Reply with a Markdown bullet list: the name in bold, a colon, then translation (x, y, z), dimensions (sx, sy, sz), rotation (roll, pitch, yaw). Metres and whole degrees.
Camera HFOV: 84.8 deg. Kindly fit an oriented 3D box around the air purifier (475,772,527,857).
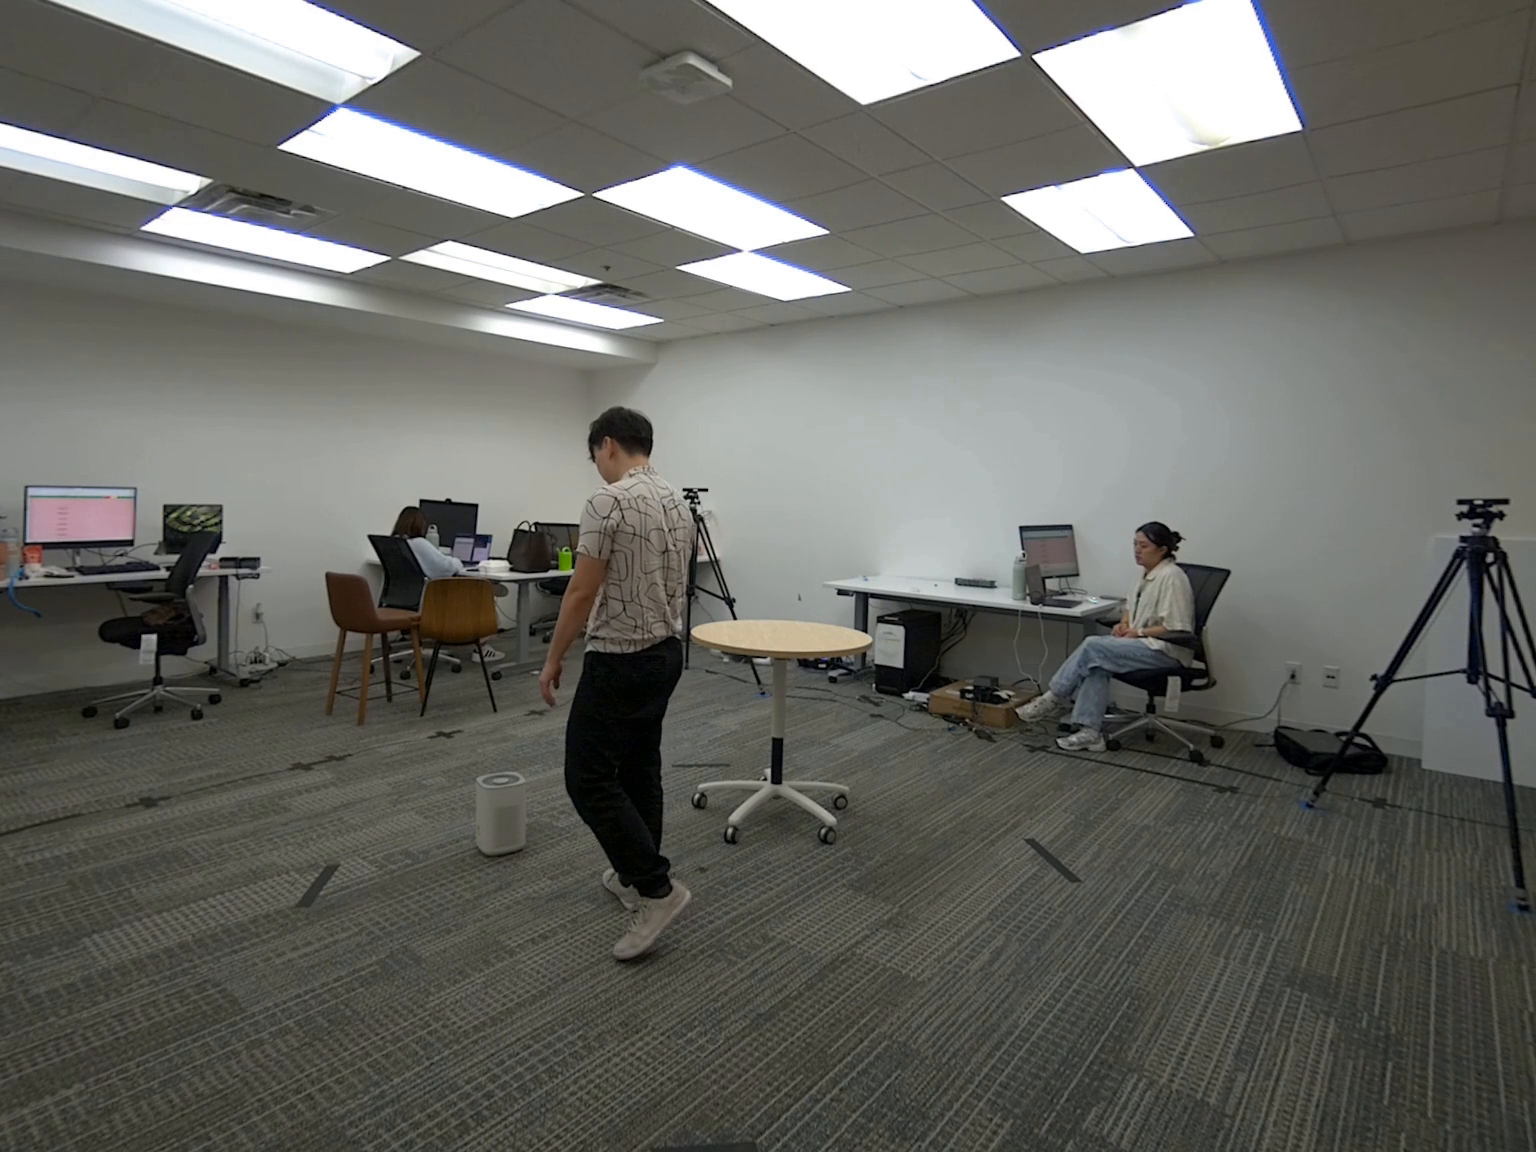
- **air purifier**: translation (-1.035, 0.907, 3.256), dimensions (0.166, 0.265, 0.176), rotation (-1, 4, -36)
